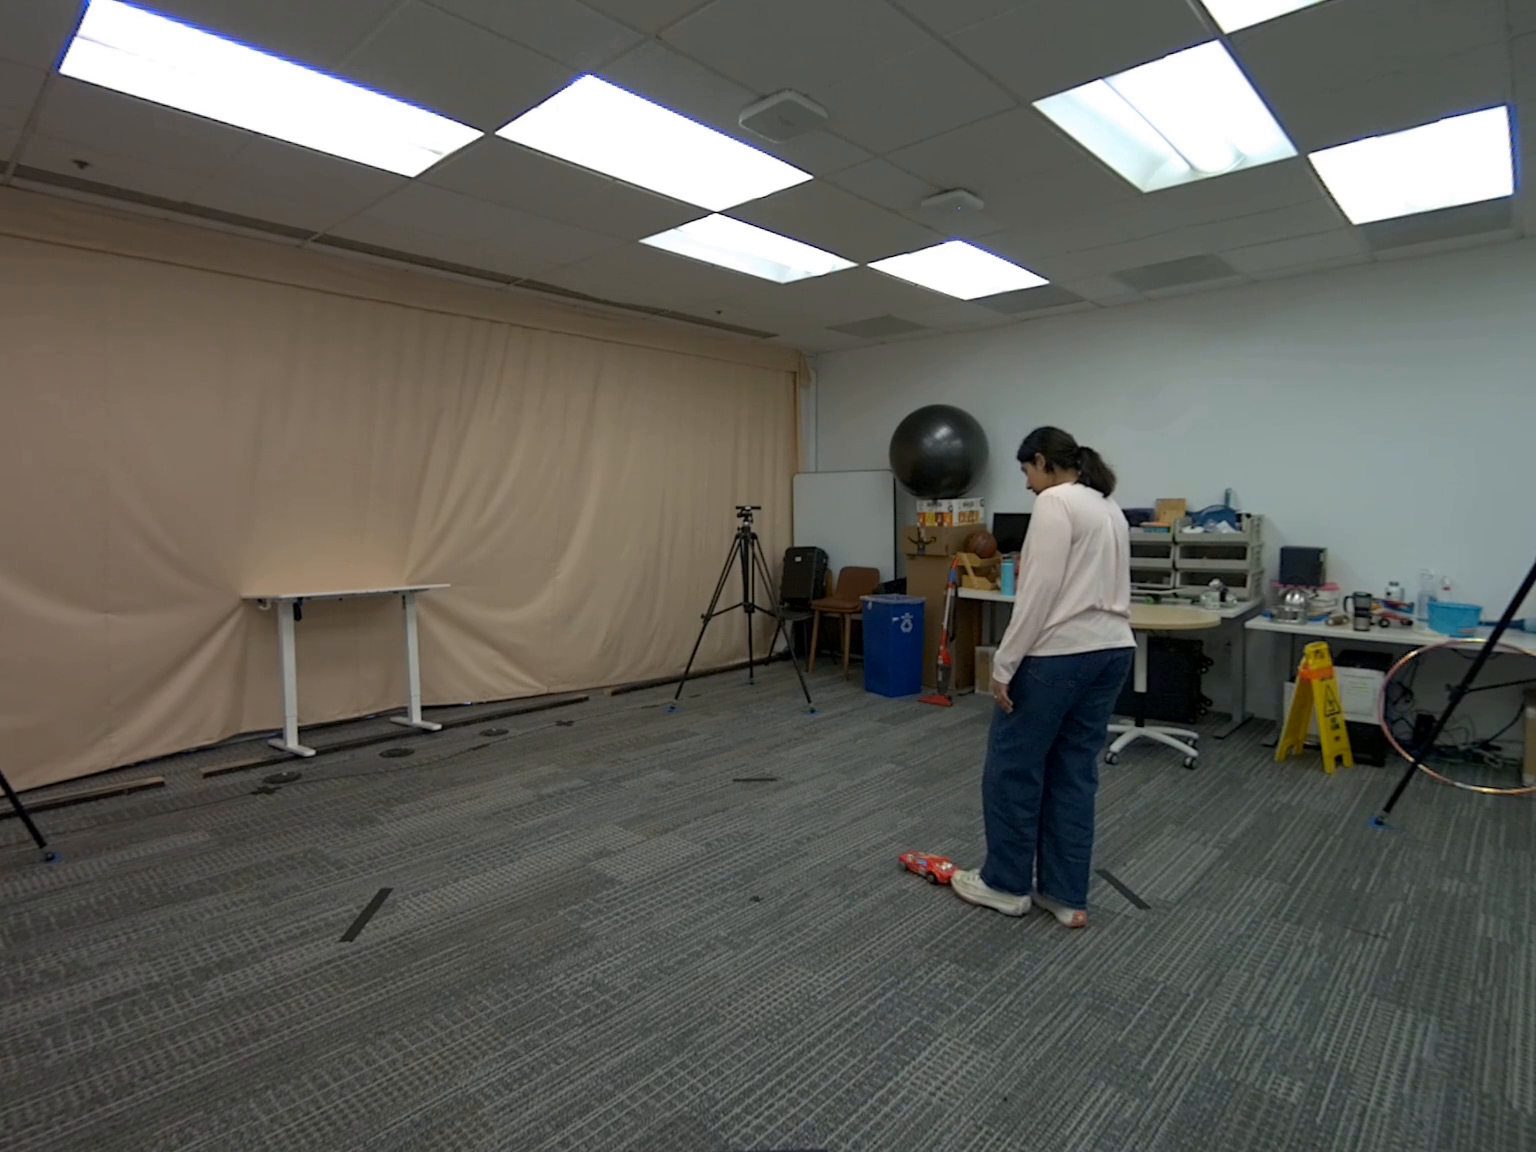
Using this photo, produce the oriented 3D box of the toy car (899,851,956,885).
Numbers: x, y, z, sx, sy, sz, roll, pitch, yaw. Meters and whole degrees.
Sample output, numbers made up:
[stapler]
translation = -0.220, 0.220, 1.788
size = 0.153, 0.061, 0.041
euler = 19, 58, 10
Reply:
[toy car]
translation = 0.617, 1.096, 3.167
size = 0.126, 0.083, 0.261
euler = -2, -7, -35
